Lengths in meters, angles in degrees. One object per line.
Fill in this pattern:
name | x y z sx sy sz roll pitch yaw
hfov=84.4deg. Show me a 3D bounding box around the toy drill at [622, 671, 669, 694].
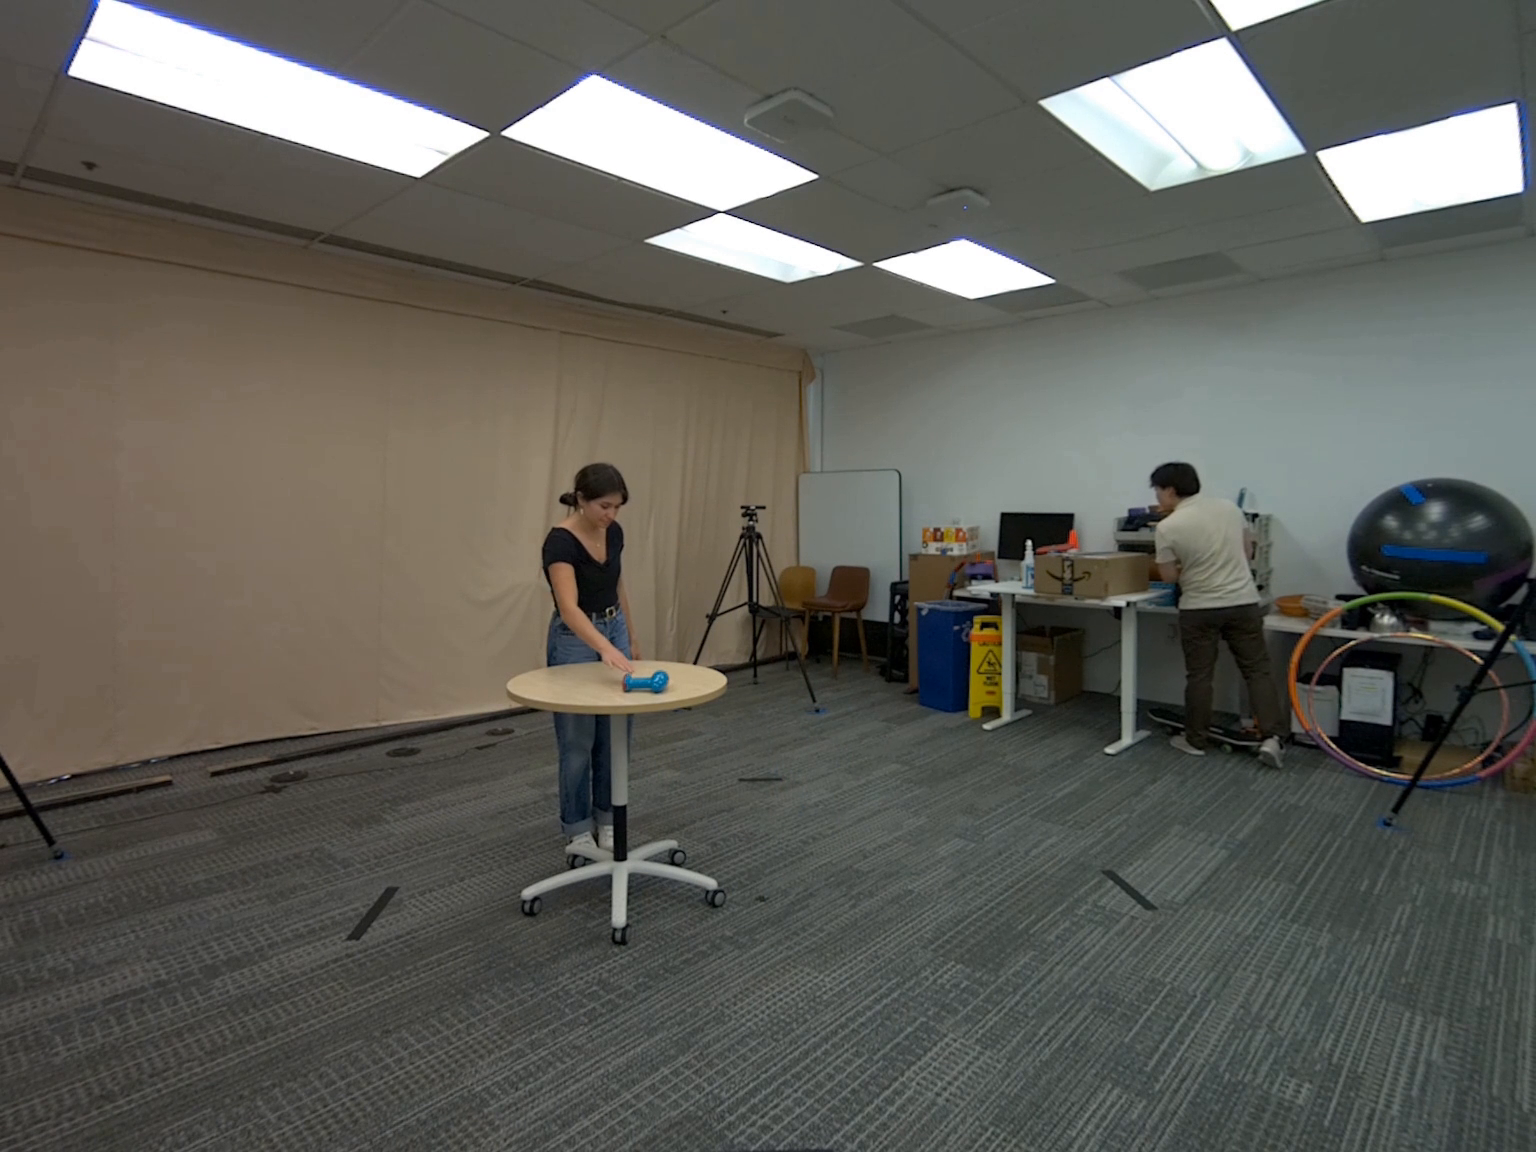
toy drill | -0.395 0.348 2.815 0.147 0.061 0.170 0 12 6
